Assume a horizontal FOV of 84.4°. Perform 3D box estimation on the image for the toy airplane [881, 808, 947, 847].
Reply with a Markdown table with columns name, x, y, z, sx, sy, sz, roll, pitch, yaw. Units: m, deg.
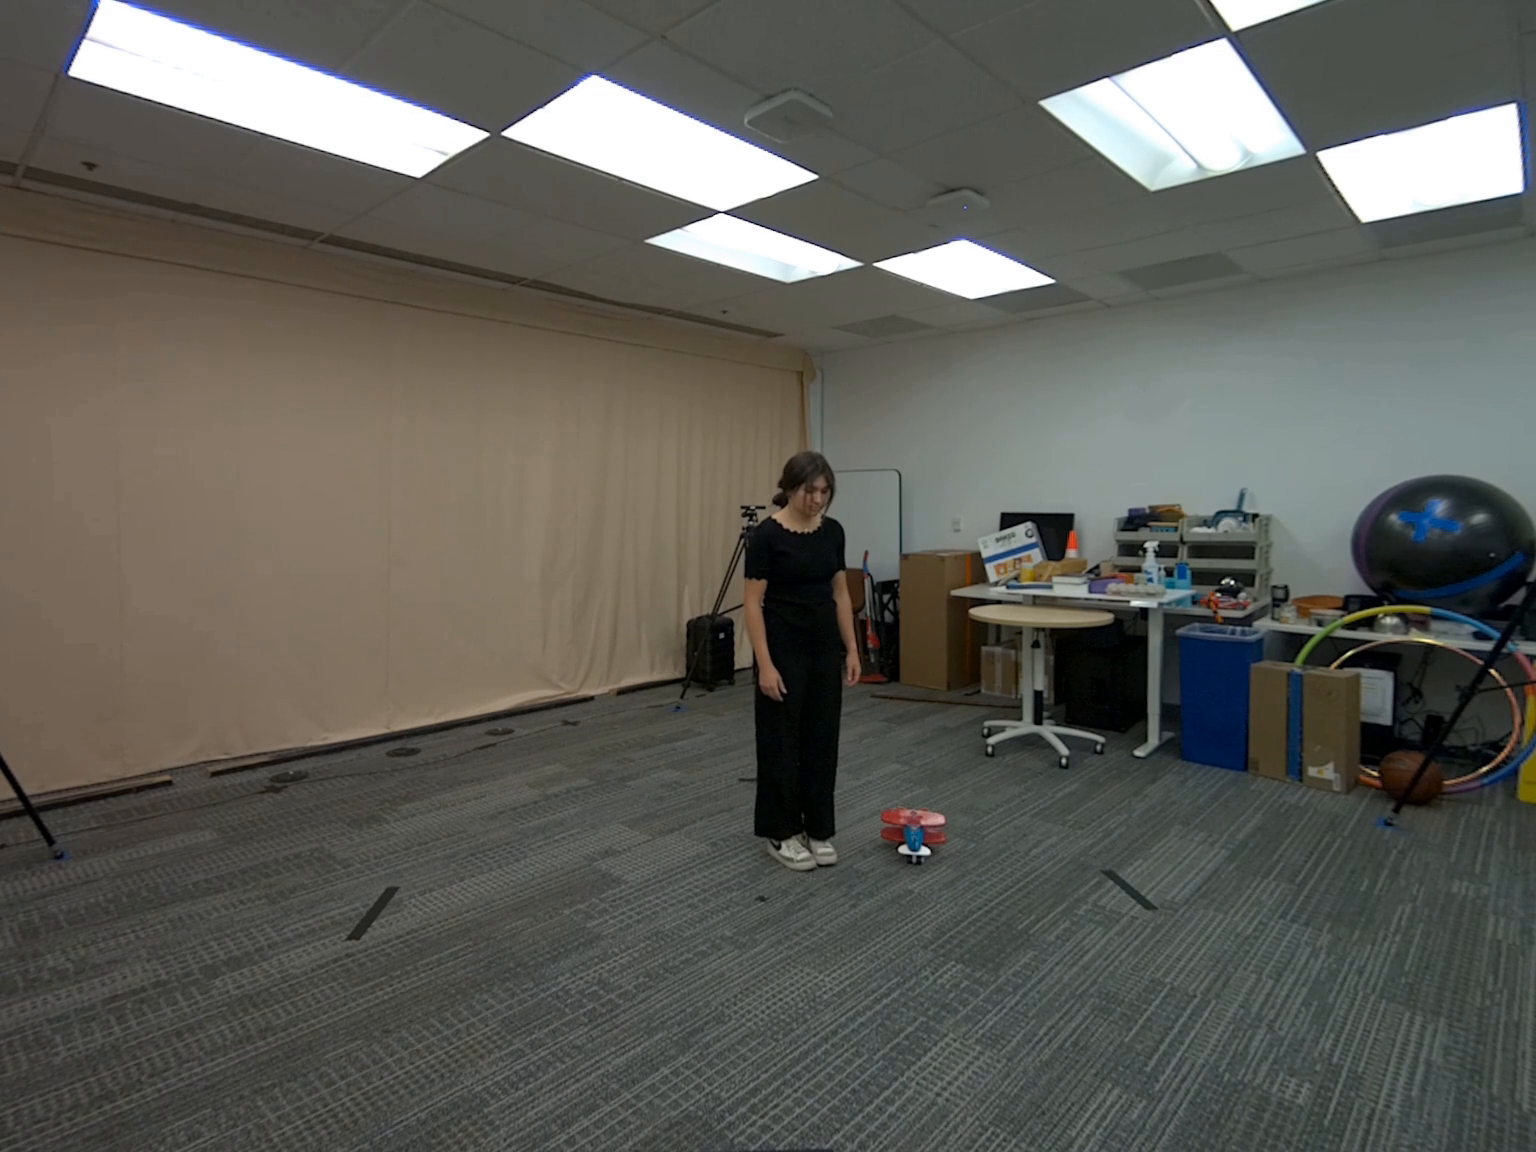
| name | x | y | z | sx | sy | sz | roll | pitch | yaw |
| --- | --- | --- | --- | --- | --- | --- | --- | --- | --- |
| toy airplane | 0.603 | 1.037 | 3.352 | 0.247 | 0.156 | 0.264 | -2 | 4 | -18 |
